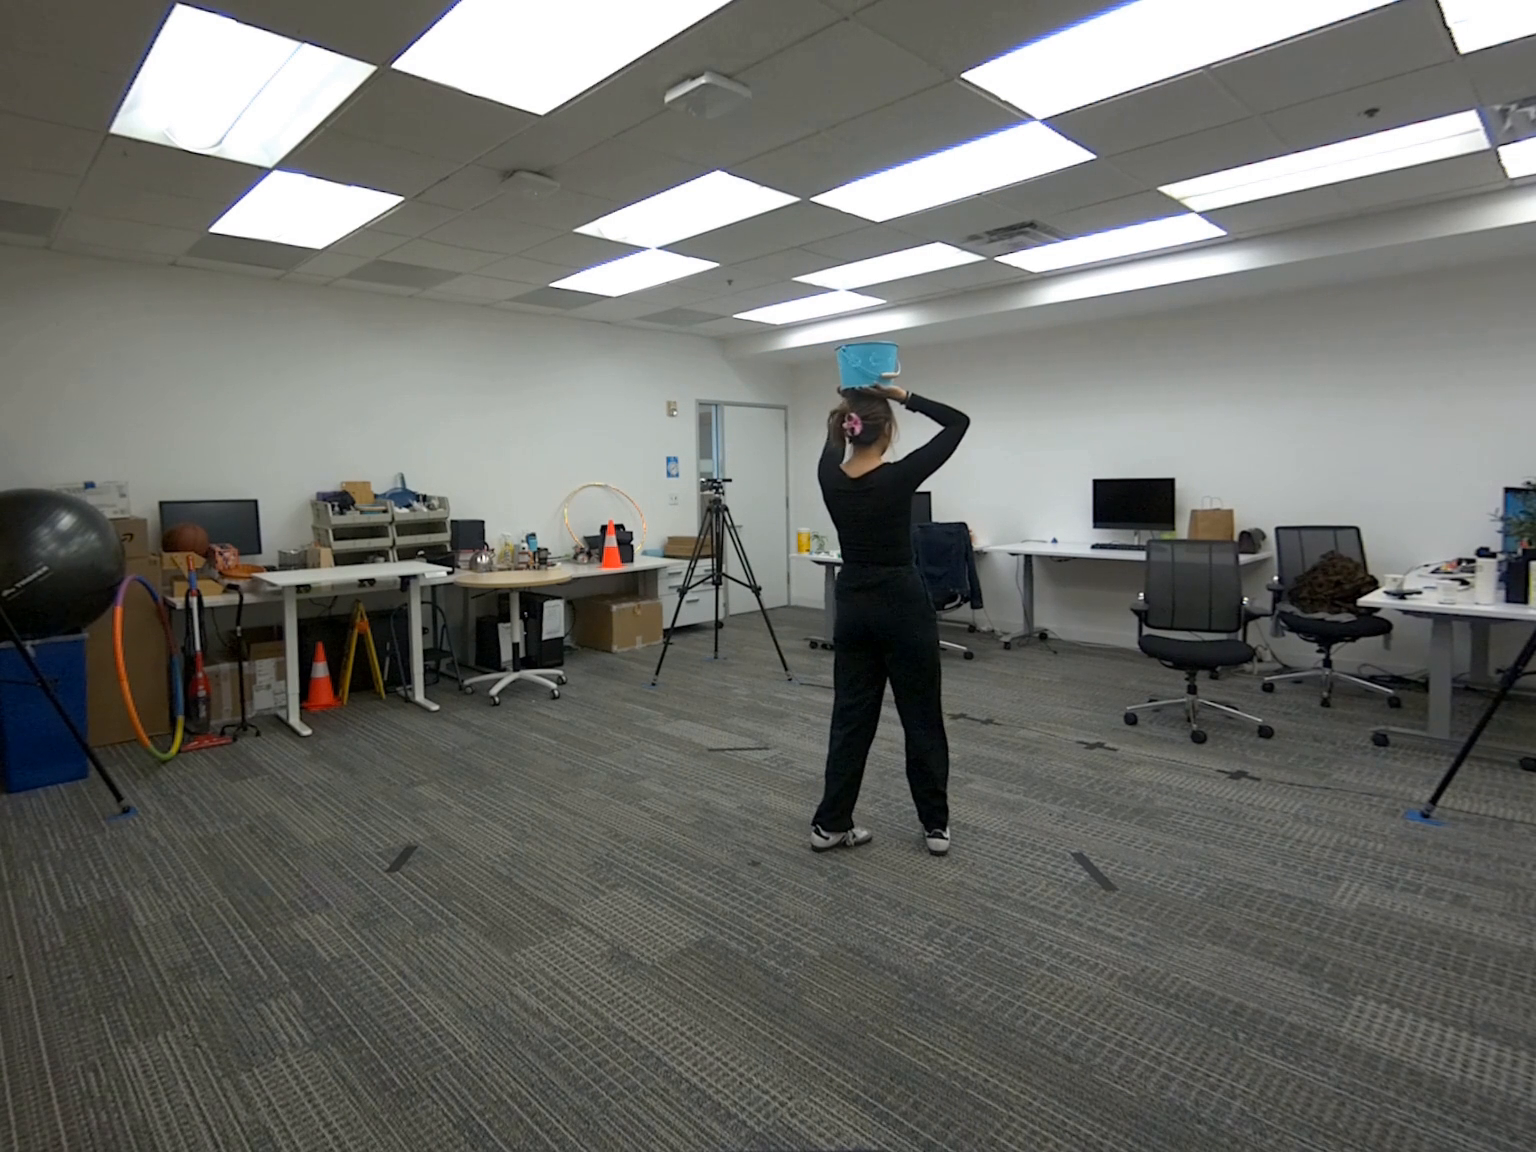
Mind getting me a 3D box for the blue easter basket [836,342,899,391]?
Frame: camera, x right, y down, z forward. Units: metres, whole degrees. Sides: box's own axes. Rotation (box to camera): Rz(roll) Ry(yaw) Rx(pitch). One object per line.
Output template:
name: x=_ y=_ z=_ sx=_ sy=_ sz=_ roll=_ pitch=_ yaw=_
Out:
blue easter basket: x=0.366 y=-0.760 z=3.110 sx=0.243 sy=0.155 sz=0.245 roll=-2 pitch=5 yaw=-2
